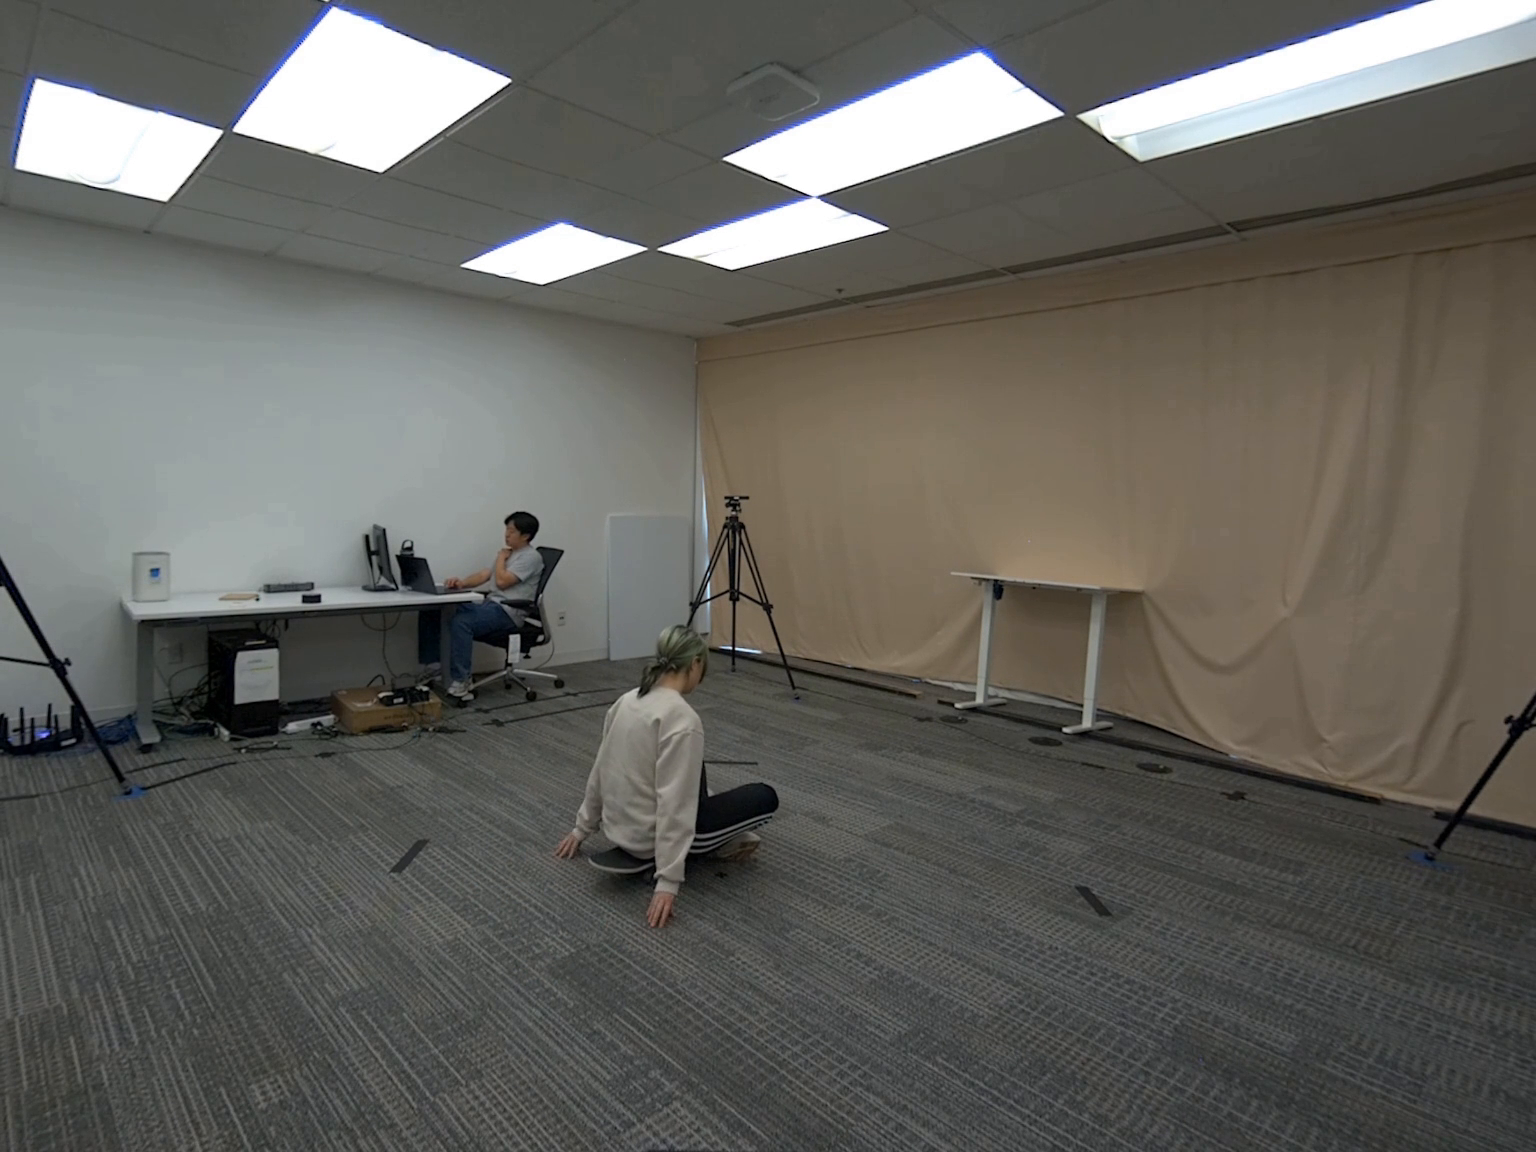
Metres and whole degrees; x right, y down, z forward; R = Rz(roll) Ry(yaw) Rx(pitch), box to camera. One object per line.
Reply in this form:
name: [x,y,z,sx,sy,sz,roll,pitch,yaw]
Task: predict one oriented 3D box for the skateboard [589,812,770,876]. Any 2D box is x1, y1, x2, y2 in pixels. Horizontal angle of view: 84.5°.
skateboard: [-0.352,1.042,3.219,0.198,0.110,0.768,3,6,40]
